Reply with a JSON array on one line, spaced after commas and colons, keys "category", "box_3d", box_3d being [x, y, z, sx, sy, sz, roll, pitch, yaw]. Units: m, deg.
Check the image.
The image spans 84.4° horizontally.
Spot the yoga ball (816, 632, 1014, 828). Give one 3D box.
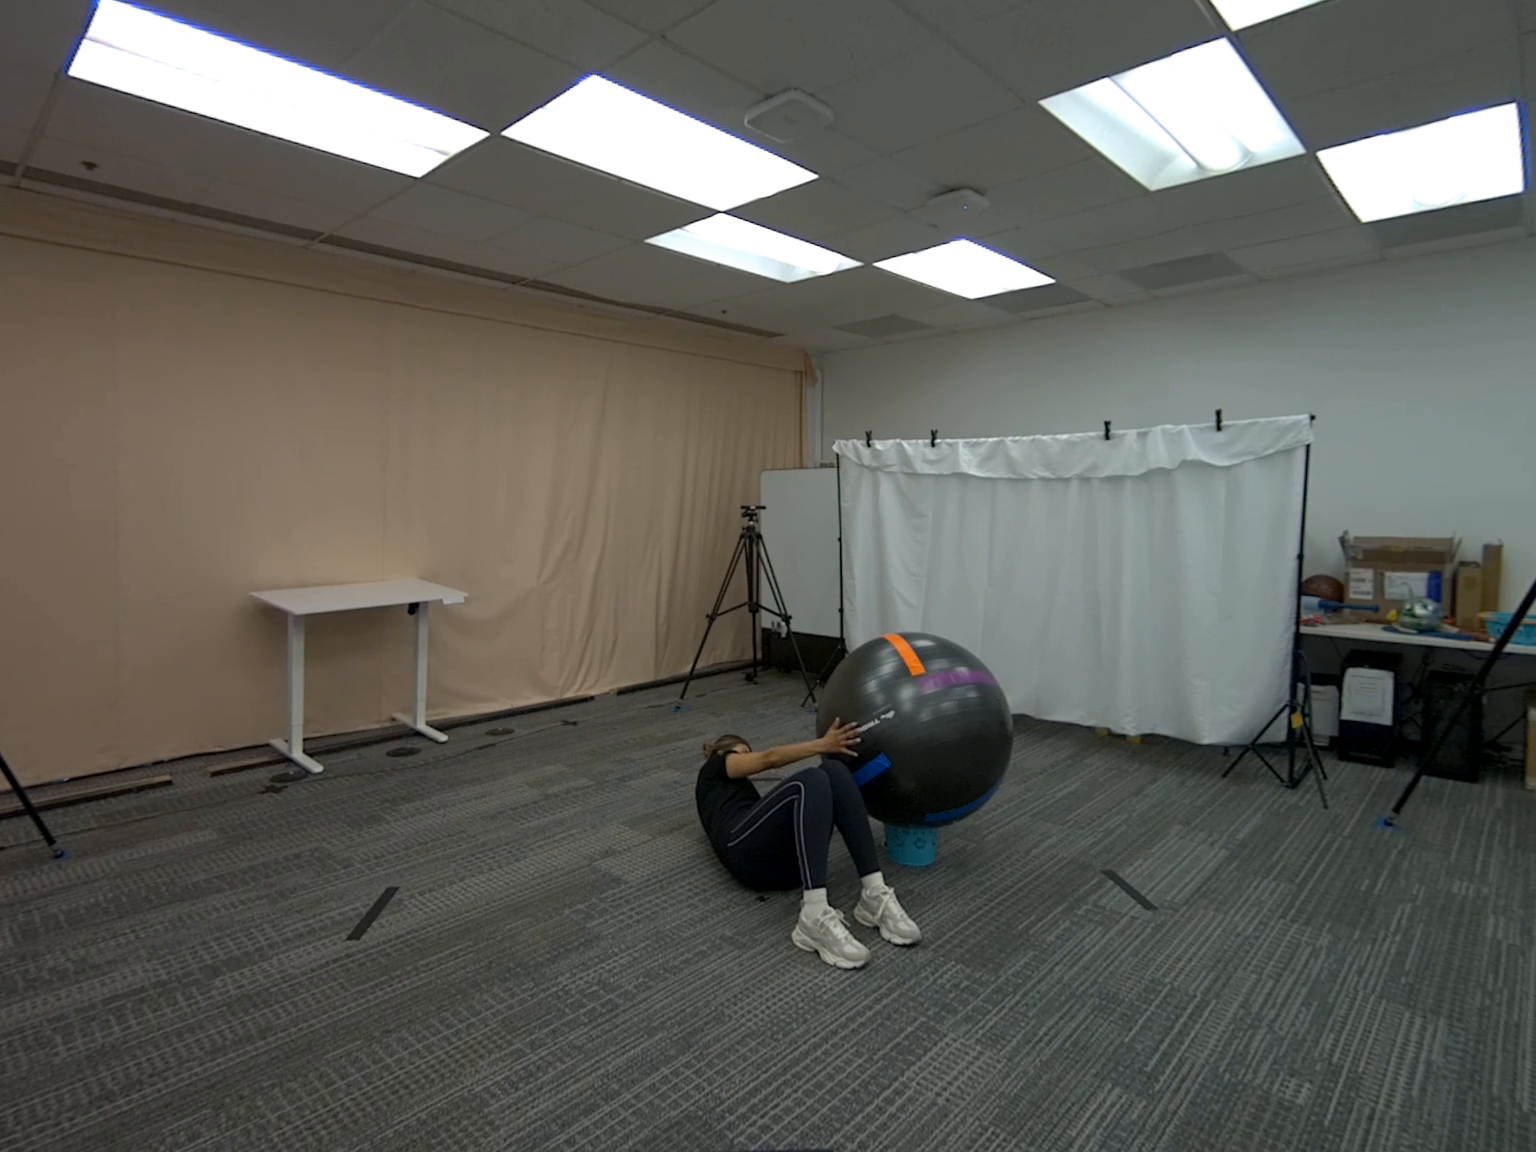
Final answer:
[{"category": "yoga ball", "box_3d": [0.569, 0.605, 3.329, 0.757, 0.756, 0.761, 3, 5, -2]}]
